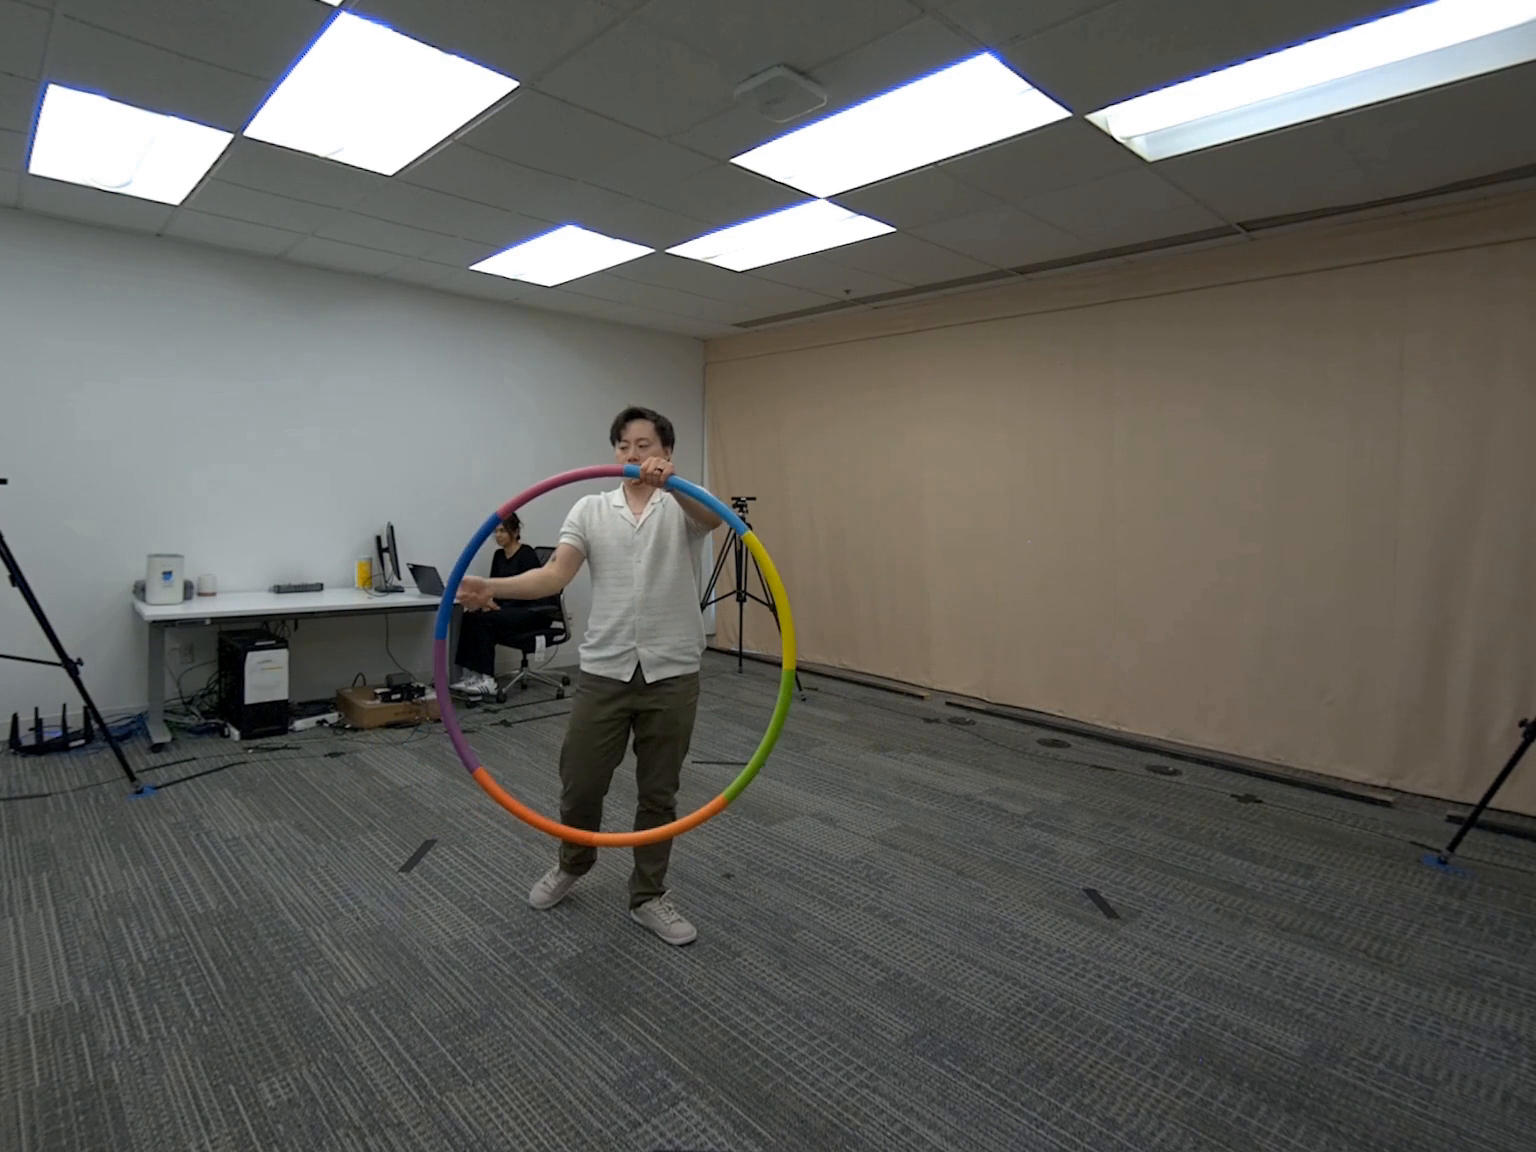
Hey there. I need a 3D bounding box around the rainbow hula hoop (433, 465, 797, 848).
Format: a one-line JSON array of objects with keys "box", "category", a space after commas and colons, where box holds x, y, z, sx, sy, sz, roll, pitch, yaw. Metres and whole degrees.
[{"box": [-0.422, 0.210, 2.213, 0.984, 0.981, 0.035, 2, -4, 7], "category": "rainbow hula hoop"}]
